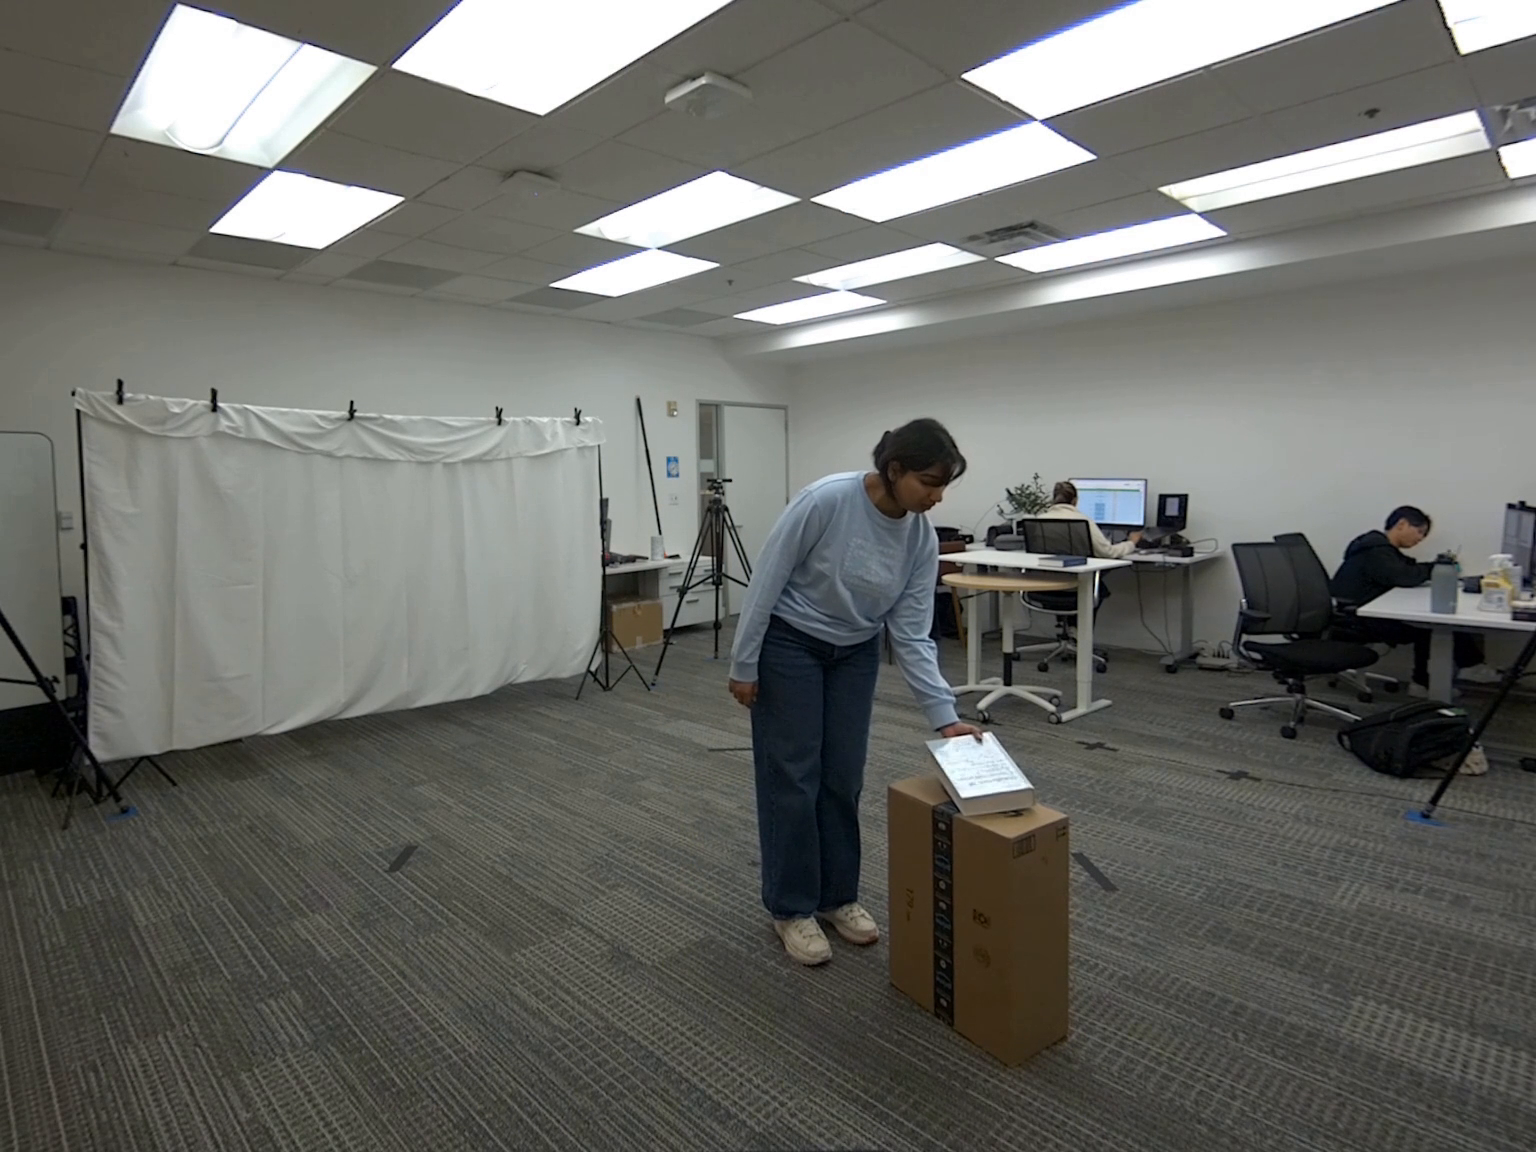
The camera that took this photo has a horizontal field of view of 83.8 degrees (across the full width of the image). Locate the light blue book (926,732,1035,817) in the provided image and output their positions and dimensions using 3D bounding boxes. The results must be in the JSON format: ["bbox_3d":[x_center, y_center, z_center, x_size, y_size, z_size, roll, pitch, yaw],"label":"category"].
[{"bbox_3d":[0.552,0.516,2.215,0.190,0.058,0.267,-7,20,-6],"label":"light blue book"}]
